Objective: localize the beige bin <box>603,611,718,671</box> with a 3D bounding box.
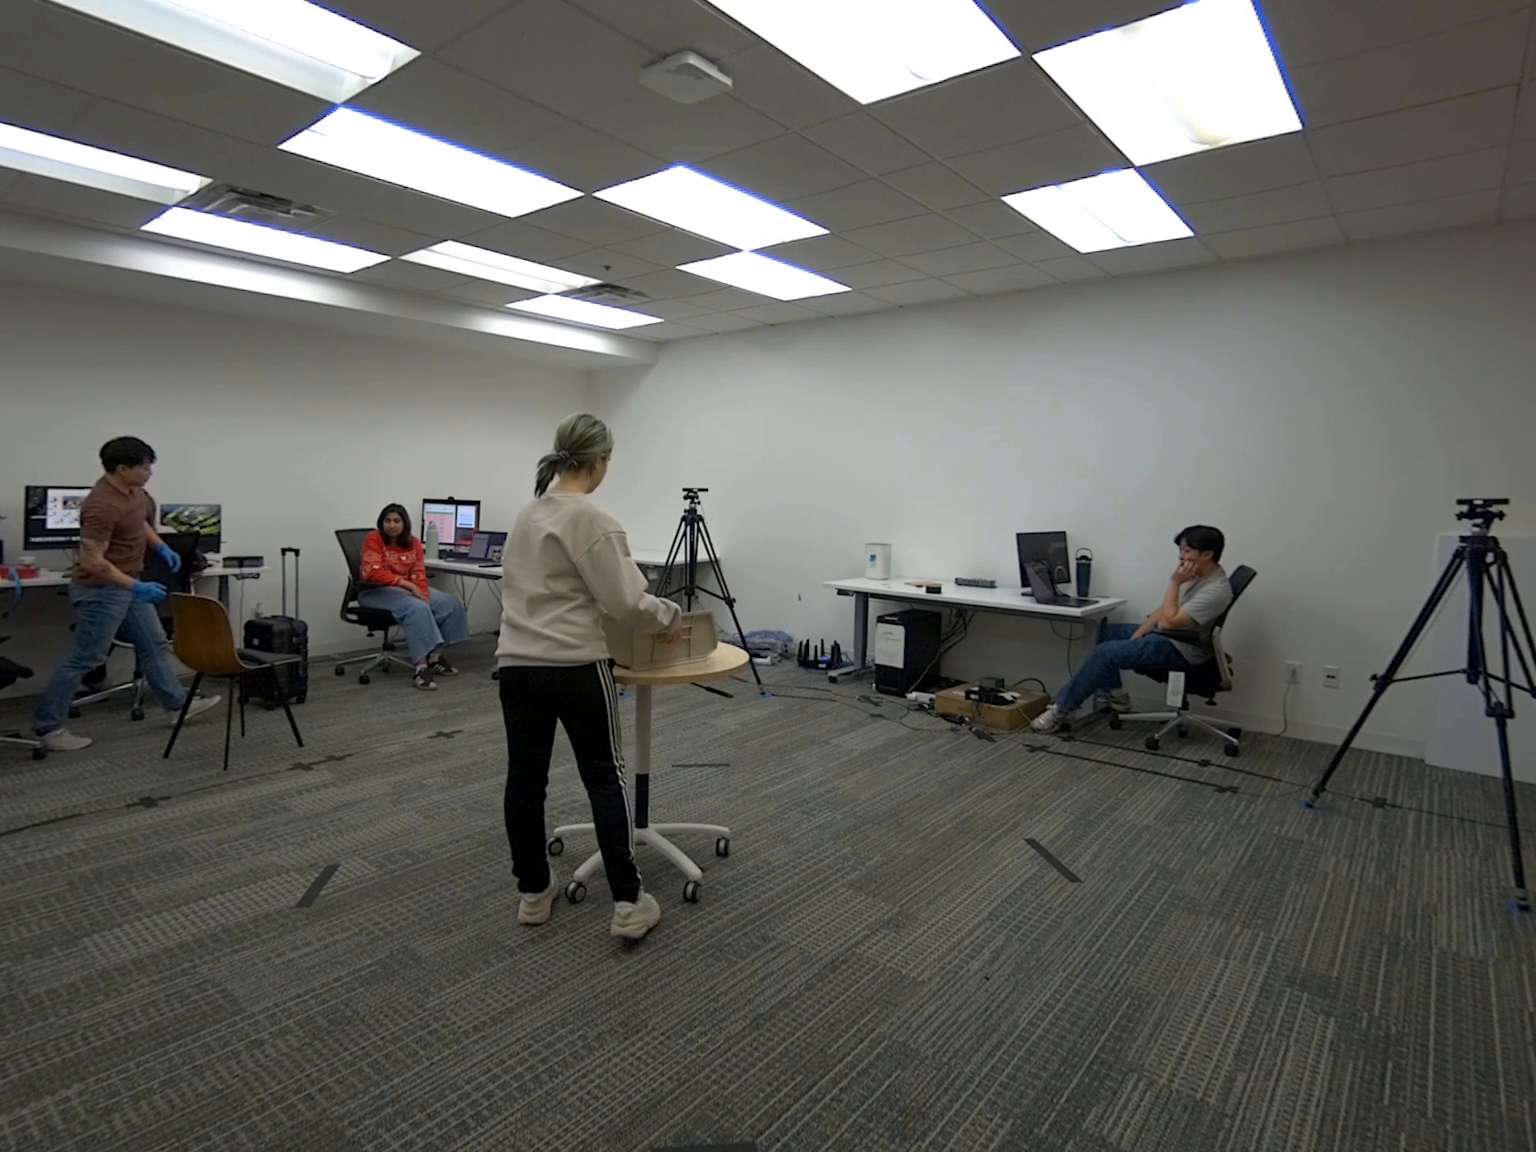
[{"bbox_3d":[-0.465,0.196,3.055,0.366,0.188,0.437,-4,8,-41],"label":"beige bin"}]
